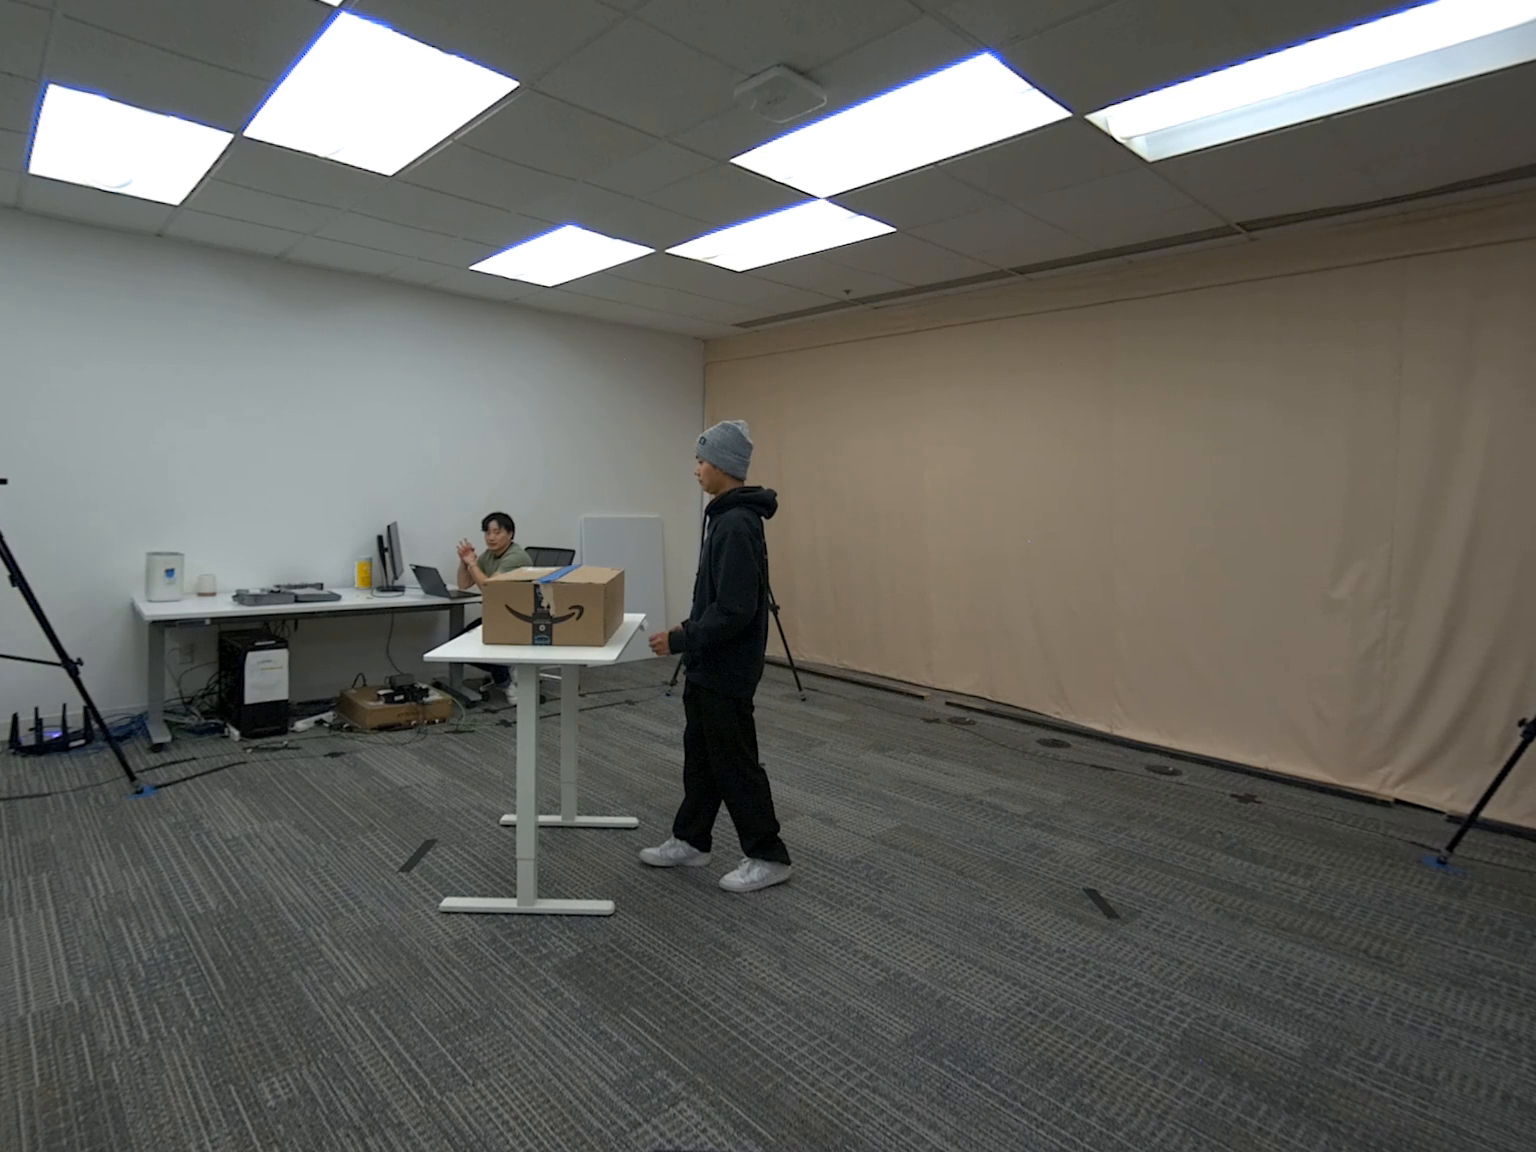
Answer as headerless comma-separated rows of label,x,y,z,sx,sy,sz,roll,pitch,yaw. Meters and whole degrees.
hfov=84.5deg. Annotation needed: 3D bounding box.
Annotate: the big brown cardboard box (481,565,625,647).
big brown cardboard box,-0.772,0.099,3.121,0.417,0.232,0.592,1,6,-2
